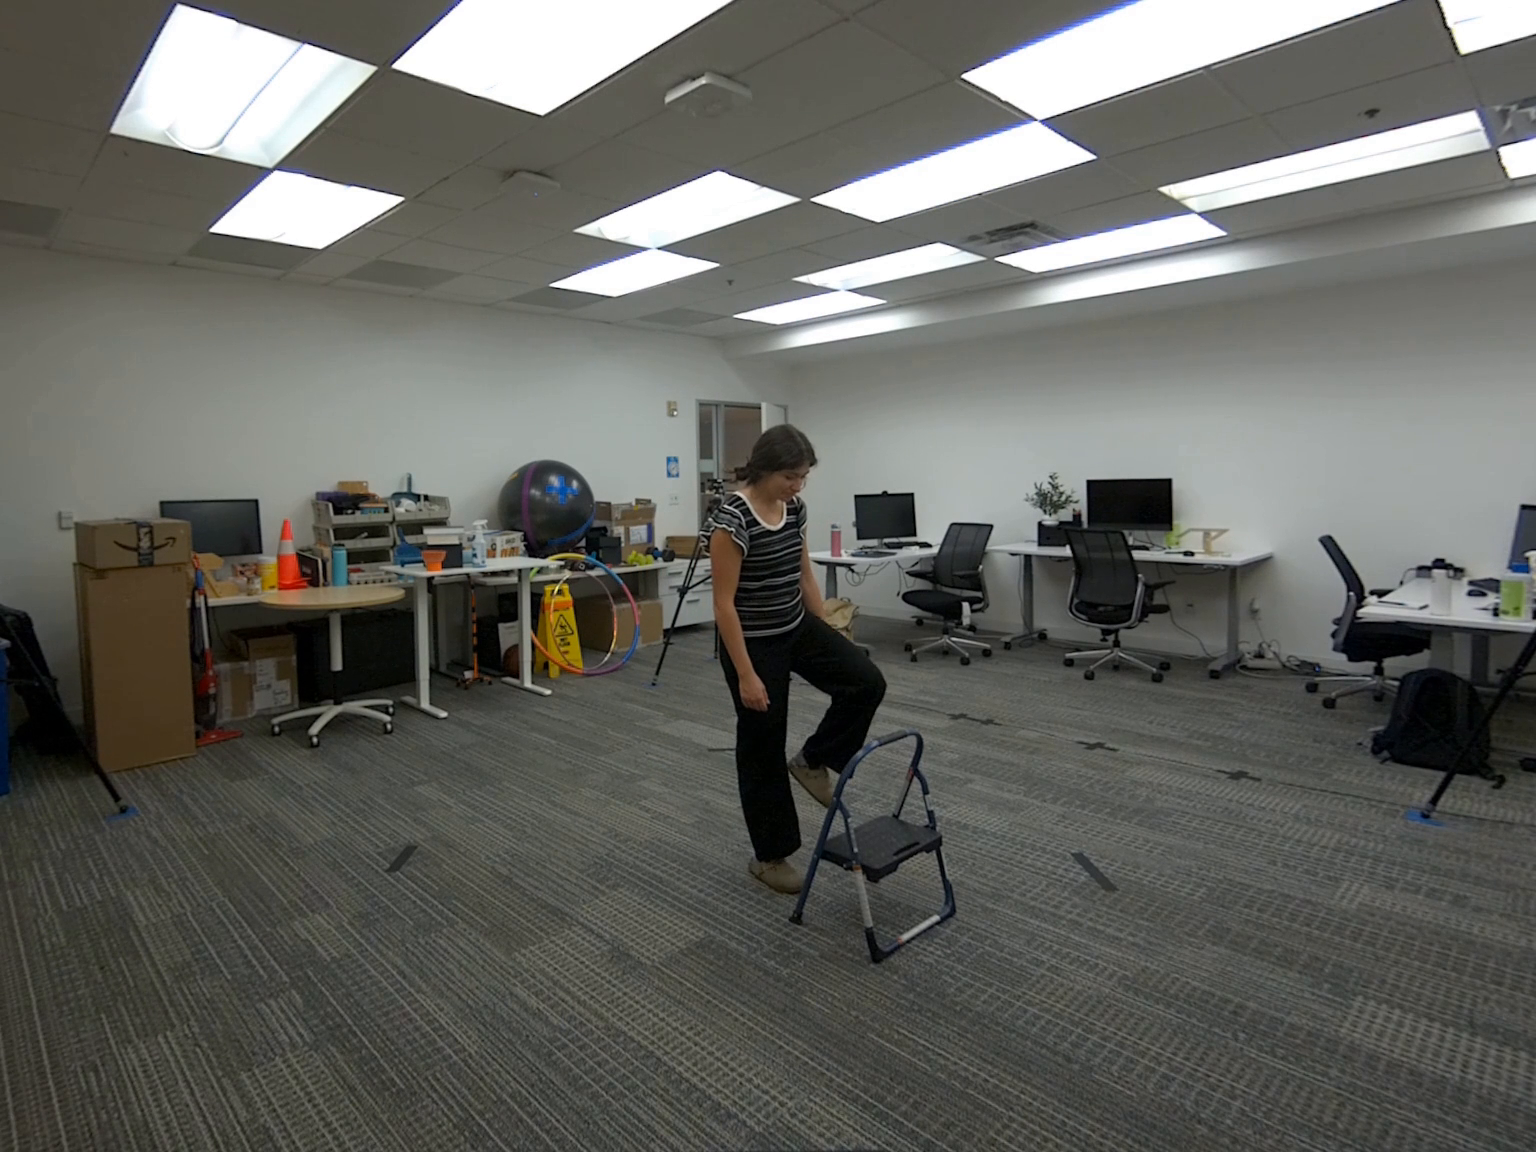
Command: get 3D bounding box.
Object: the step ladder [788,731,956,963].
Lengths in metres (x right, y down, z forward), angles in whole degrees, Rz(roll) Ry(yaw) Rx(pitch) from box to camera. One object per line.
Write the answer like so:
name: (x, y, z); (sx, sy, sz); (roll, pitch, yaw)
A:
step ladder: (0.333, 0.783, 2.692); (0.419, 0.604, 0.360); (-5, 6, -45)
